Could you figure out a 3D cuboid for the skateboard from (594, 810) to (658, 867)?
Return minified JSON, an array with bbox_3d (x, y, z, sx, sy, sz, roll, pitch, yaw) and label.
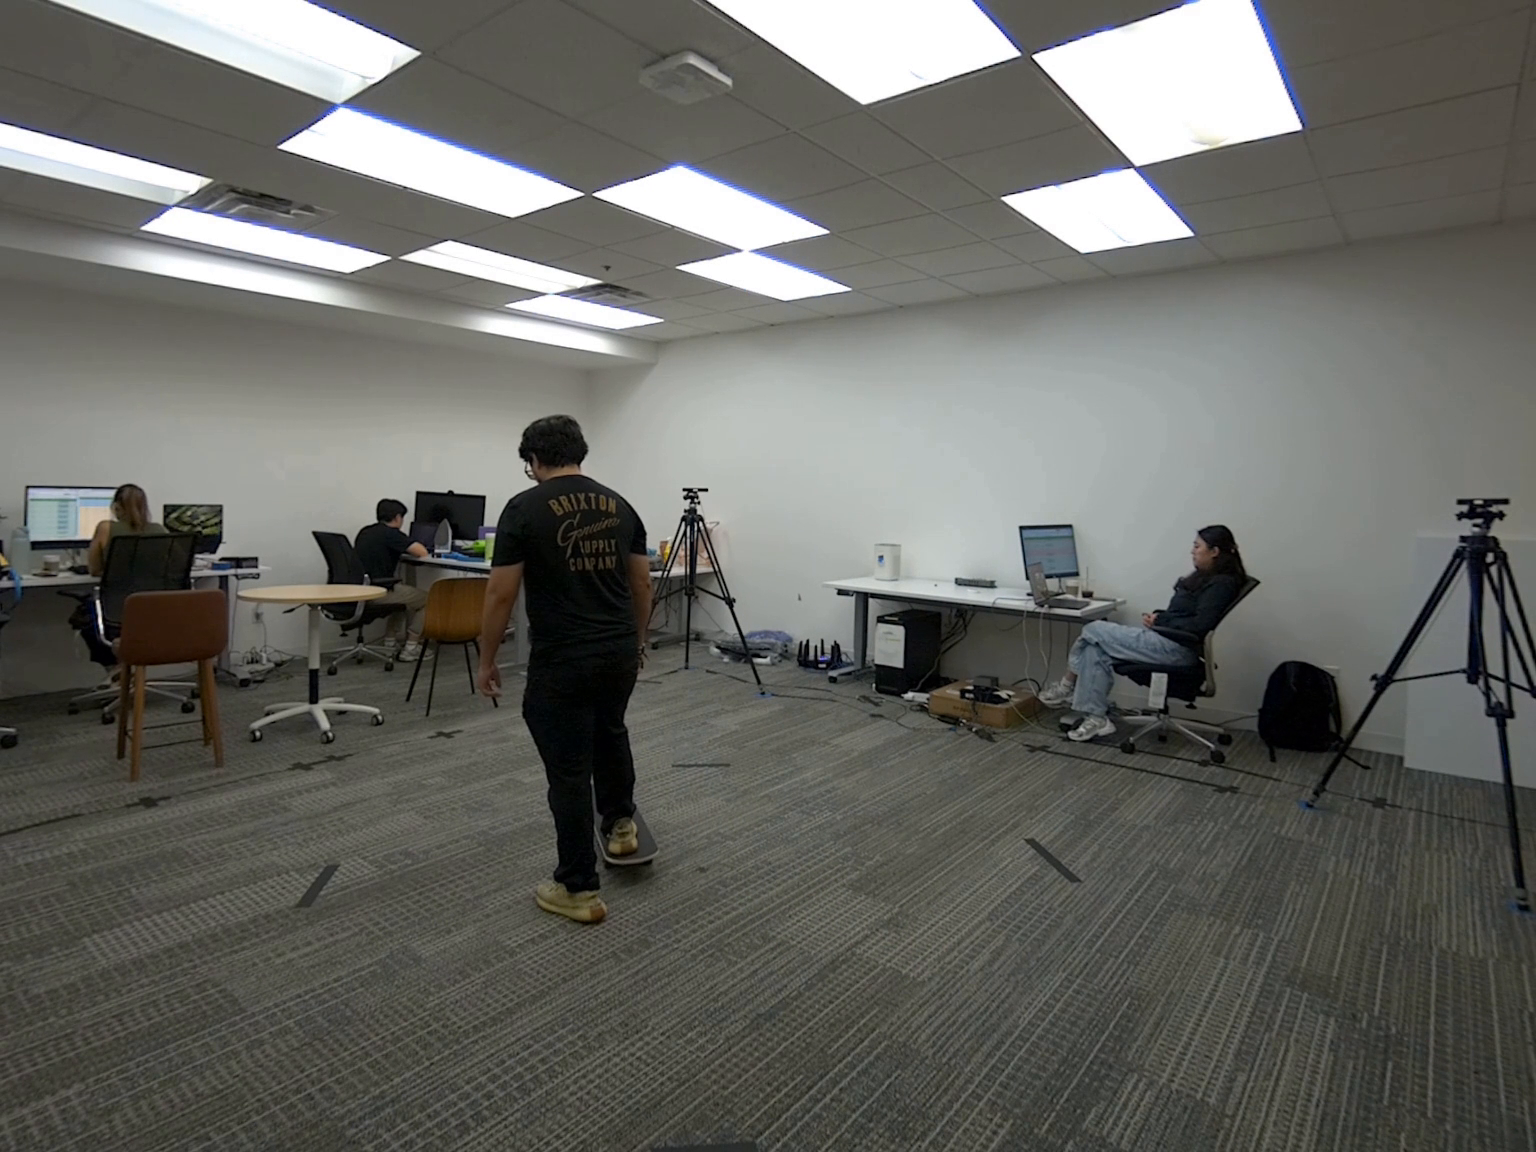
[{"bbox_3d":[-0.598,0.982,3.319,0.190,0.109,0.804,-5,8,-18],"label":"skateboard"}]
